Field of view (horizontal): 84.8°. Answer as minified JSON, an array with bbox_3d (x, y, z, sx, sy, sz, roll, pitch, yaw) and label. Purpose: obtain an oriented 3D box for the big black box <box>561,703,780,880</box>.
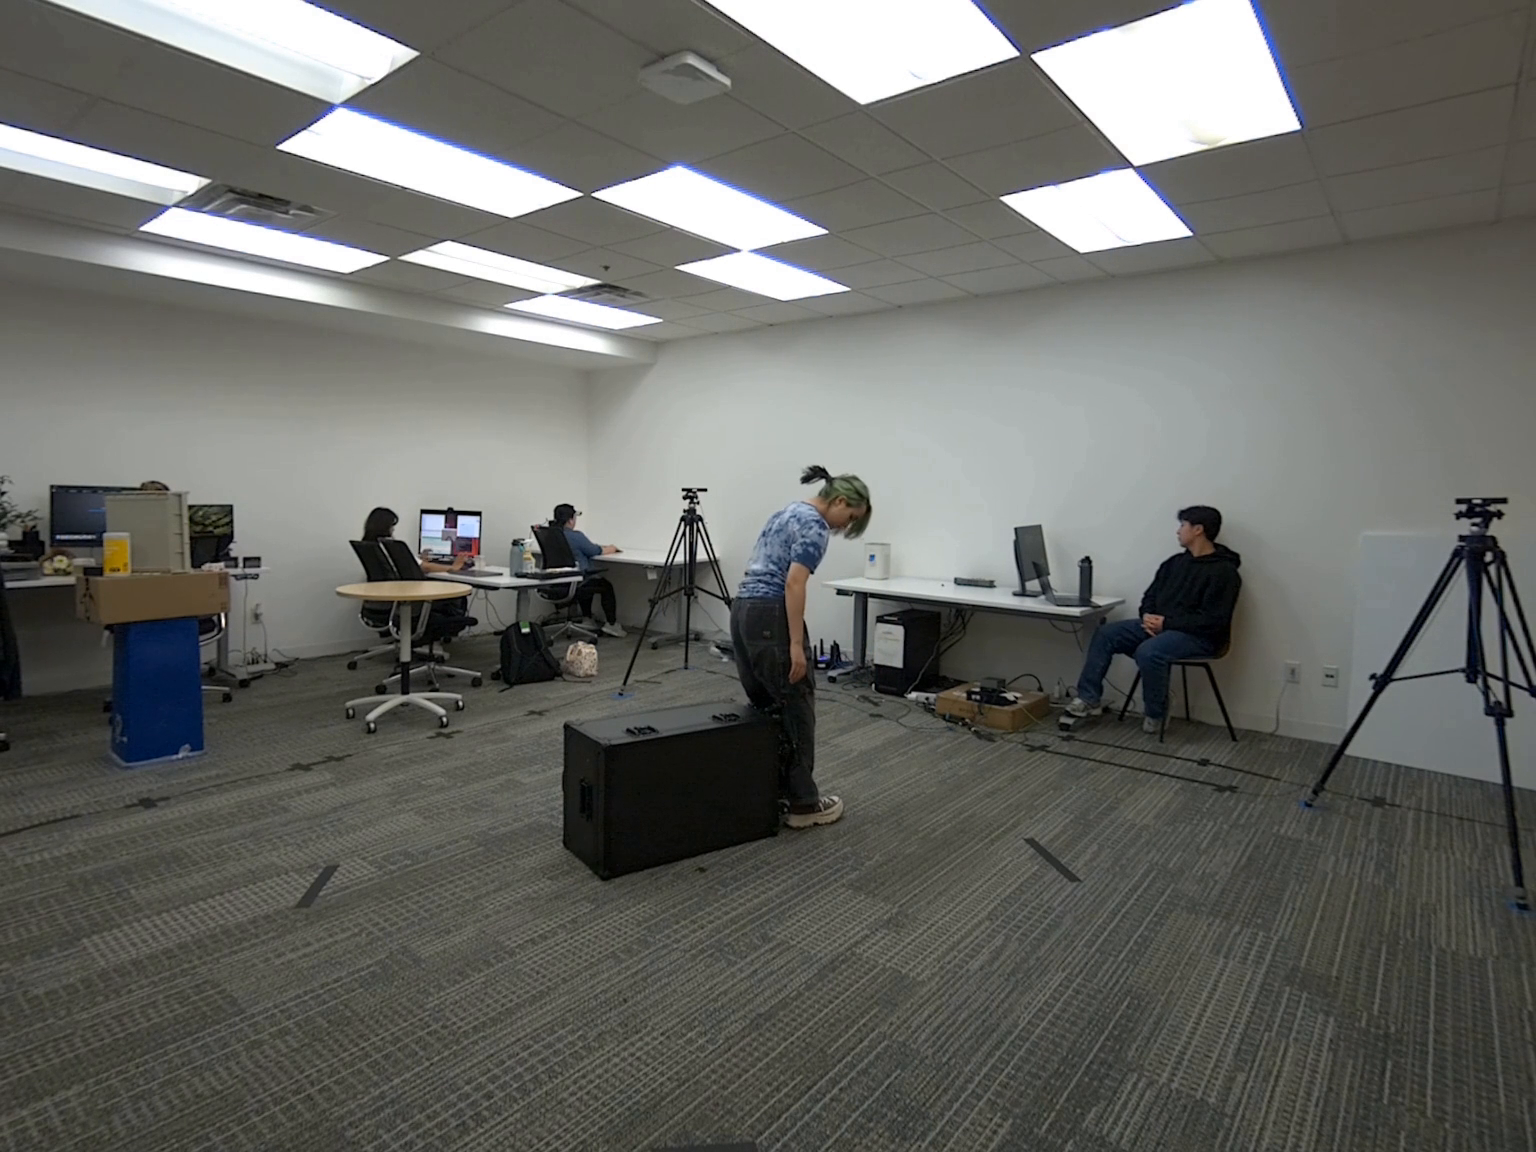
[{"bbox_3d":[-0.368,0.799,3.367,0.837,0.520,0.409,-1,5,-34],"label":"big black box"}]
